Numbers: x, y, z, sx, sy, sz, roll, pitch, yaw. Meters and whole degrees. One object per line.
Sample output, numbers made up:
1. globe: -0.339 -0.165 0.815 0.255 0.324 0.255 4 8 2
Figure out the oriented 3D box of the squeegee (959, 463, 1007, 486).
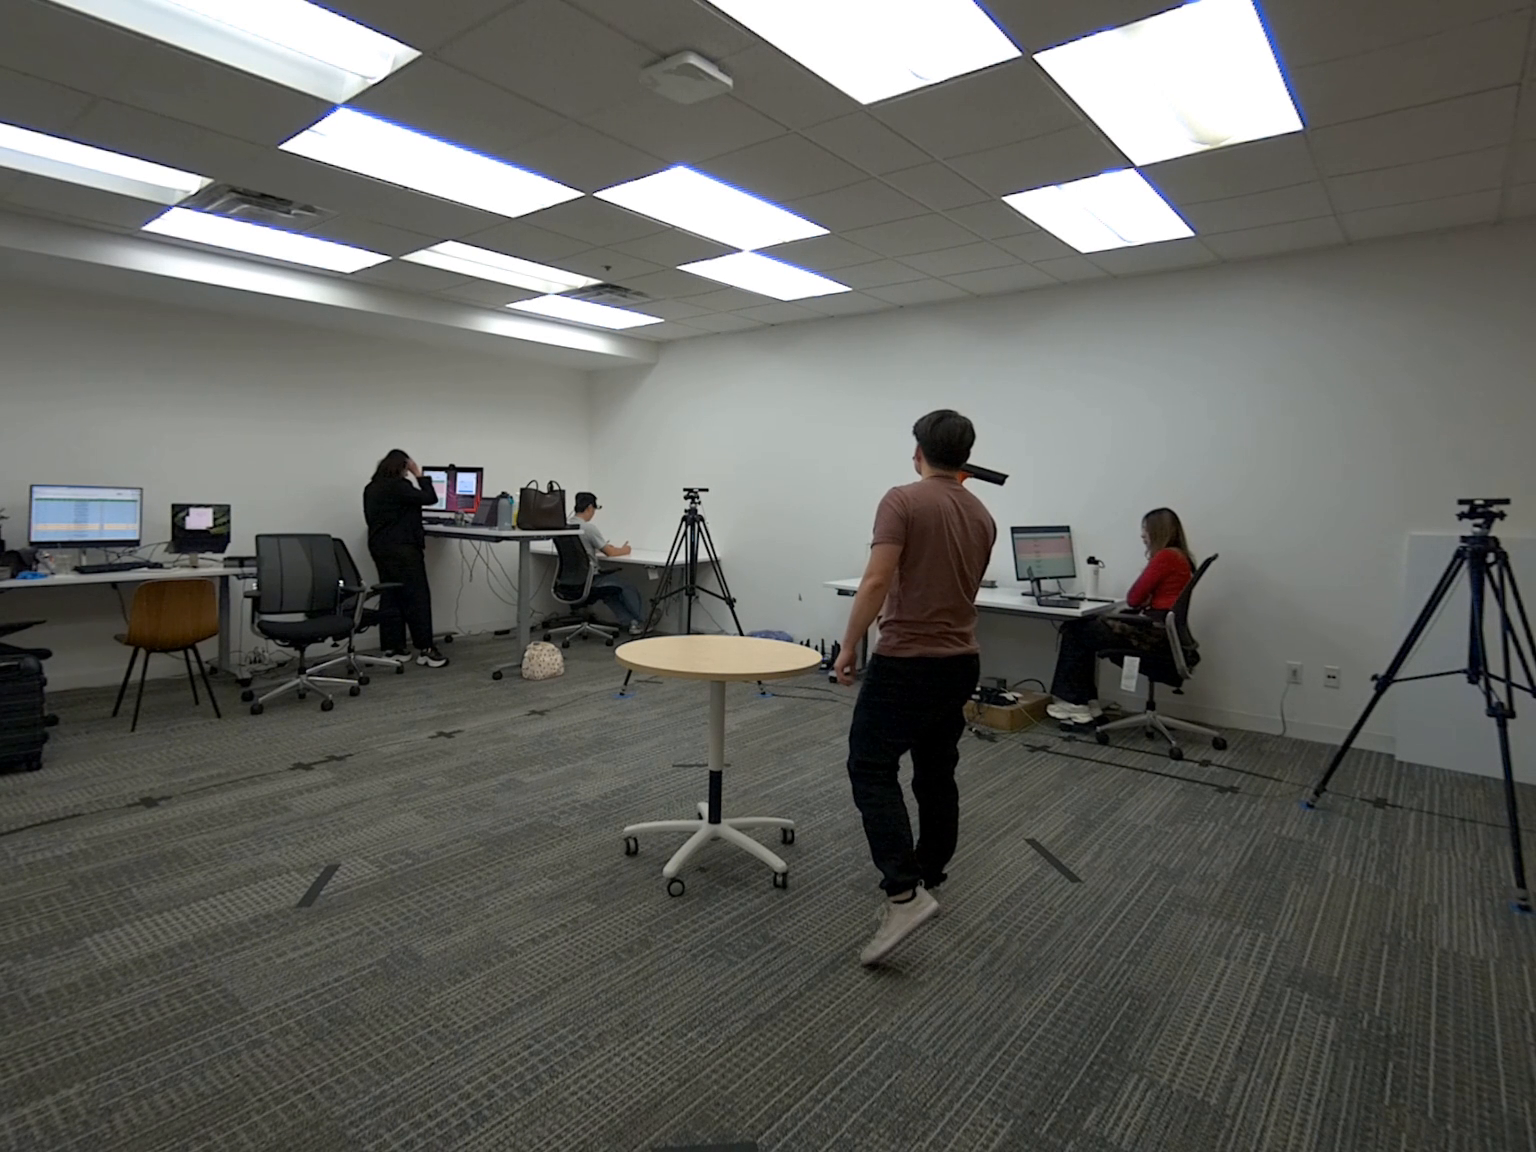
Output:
1. squeegee: 0.547 0.311 3.301 0.426 1.537 0.054 13 0 -23
